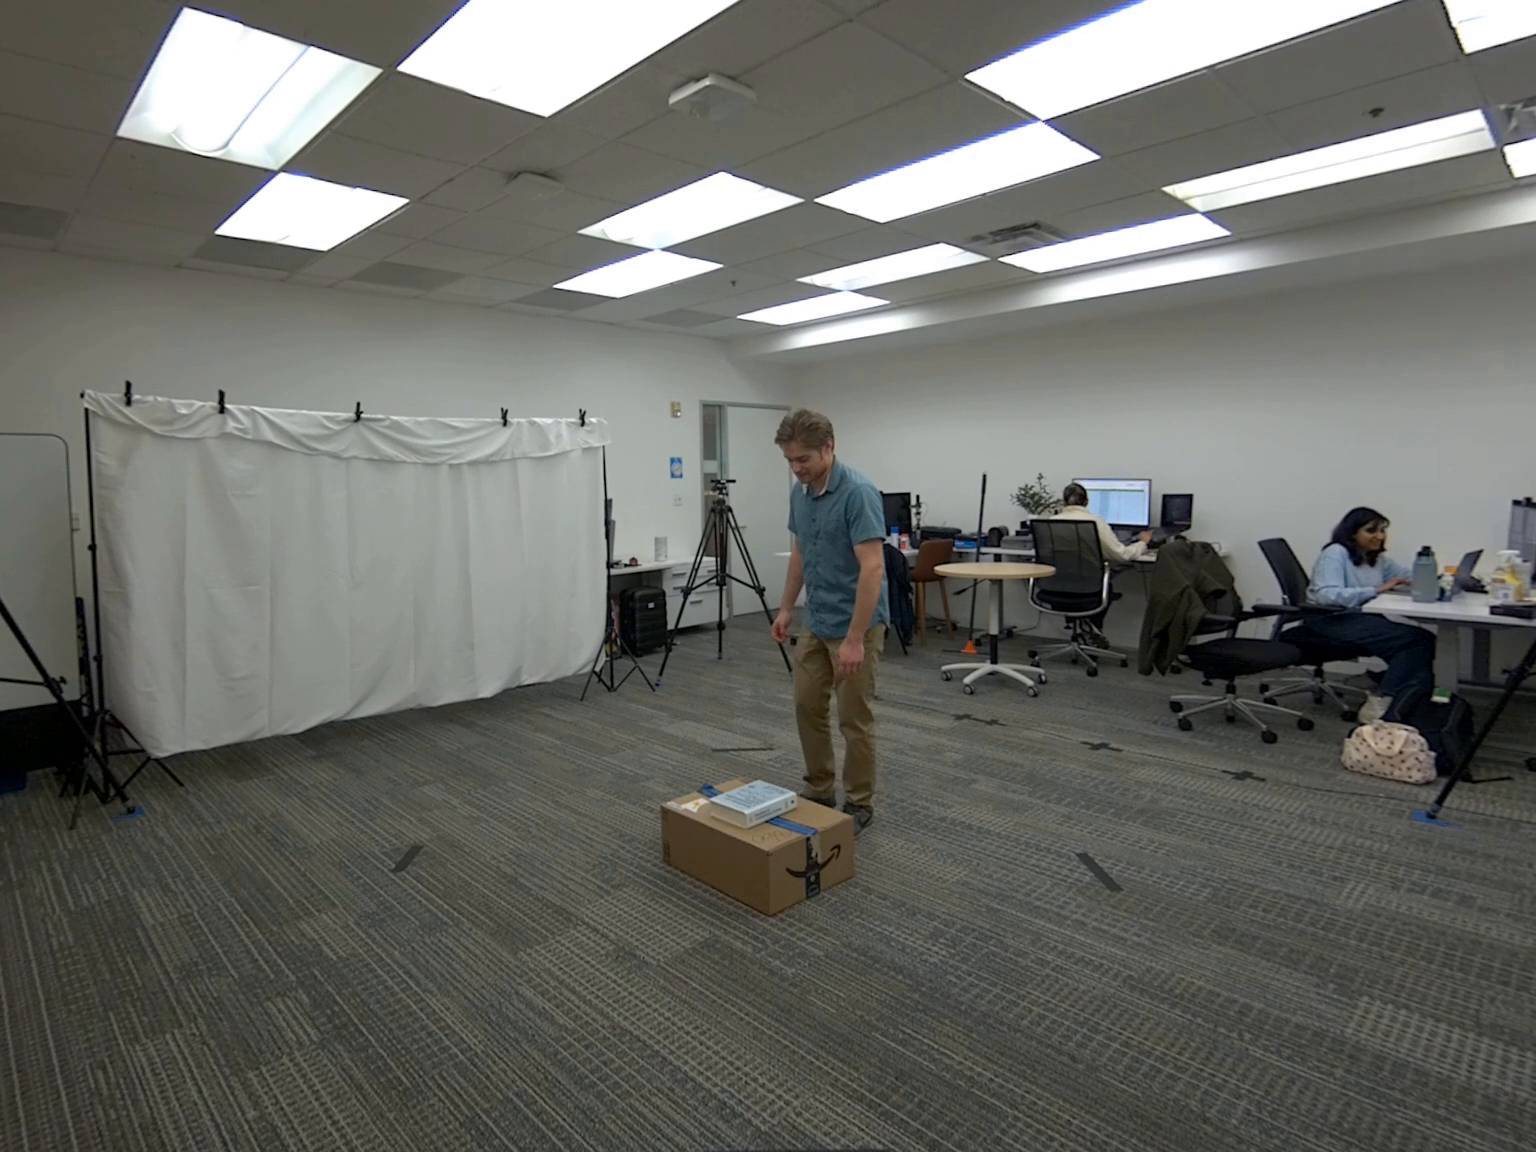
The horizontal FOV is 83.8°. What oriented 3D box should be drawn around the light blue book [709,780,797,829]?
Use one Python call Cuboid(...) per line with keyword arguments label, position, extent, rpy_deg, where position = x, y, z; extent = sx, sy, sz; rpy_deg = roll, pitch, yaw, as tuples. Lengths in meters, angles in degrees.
Cuboid(label="light blue book", position=(-0.052, 0.810, 3.058), extent=(0.197, 0.059, 0.254), rpy_deg=(5, 9, 44))
